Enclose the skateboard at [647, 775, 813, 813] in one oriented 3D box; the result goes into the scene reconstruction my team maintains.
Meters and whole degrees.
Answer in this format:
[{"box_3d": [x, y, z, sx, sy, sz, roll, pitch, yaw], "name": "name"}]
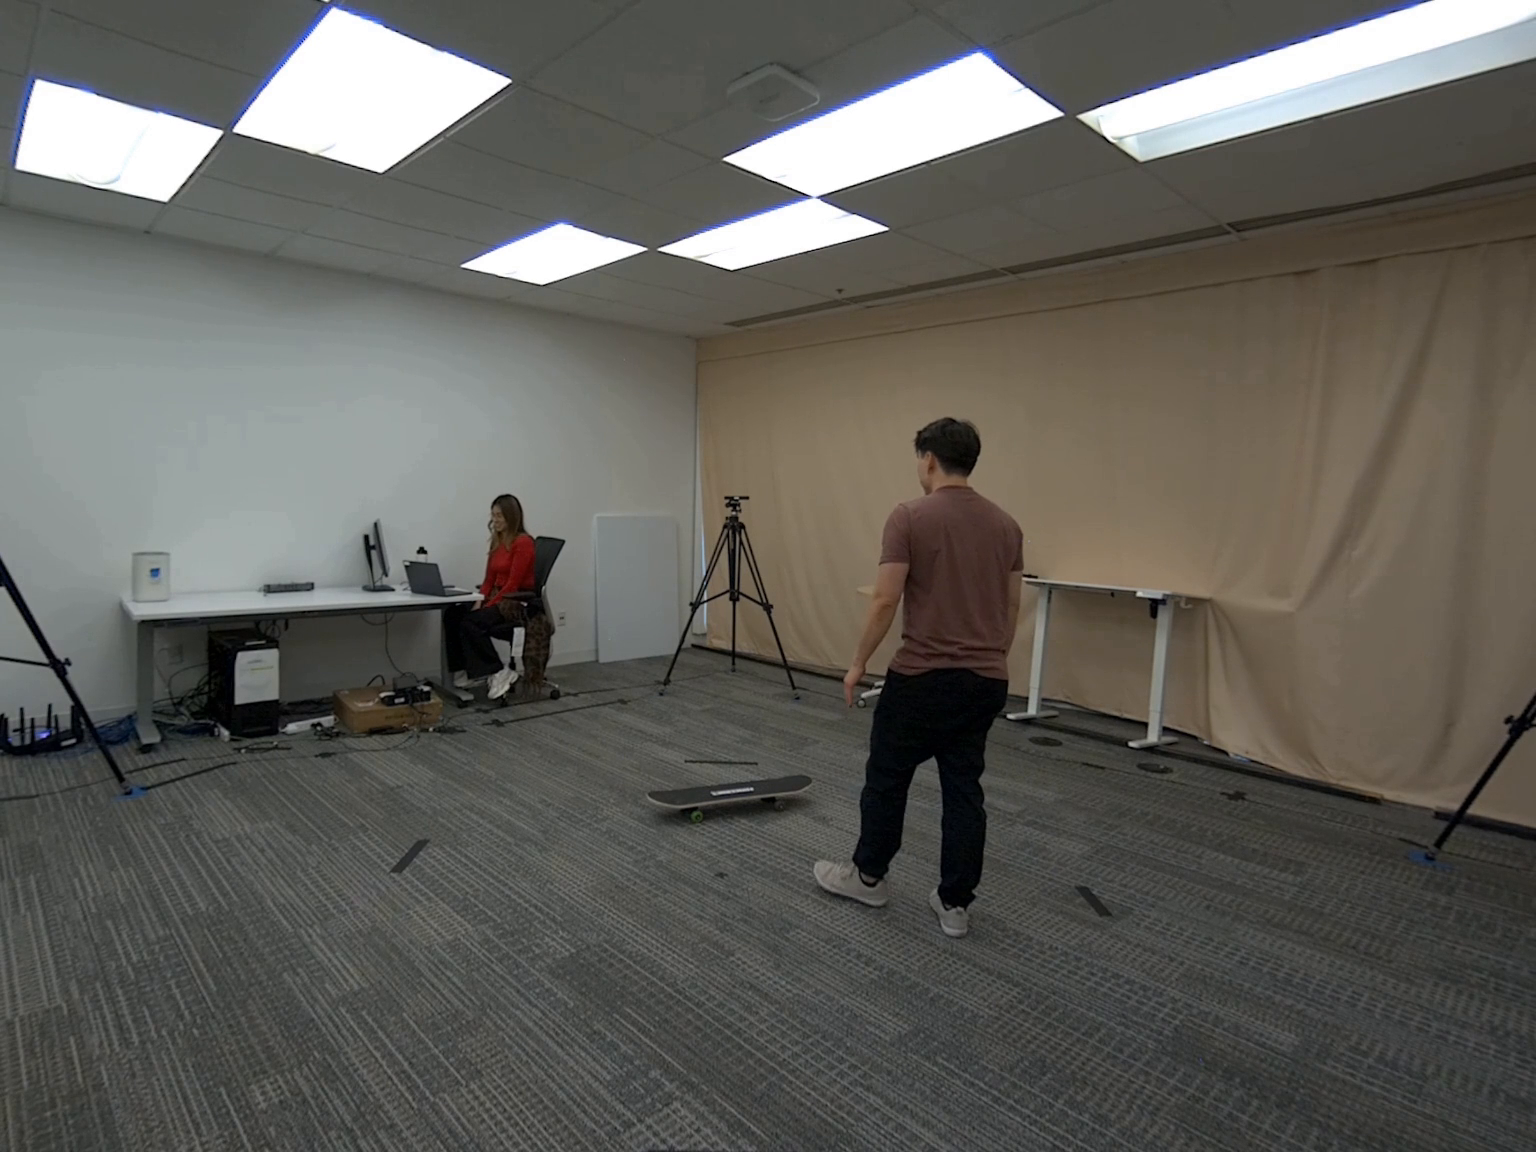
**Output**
[{"box_3d": [-0.169, 0.987, 3.753, 0.772, 0.110, 0.197, -1, 5, -24], "name": "skateboard"}]
